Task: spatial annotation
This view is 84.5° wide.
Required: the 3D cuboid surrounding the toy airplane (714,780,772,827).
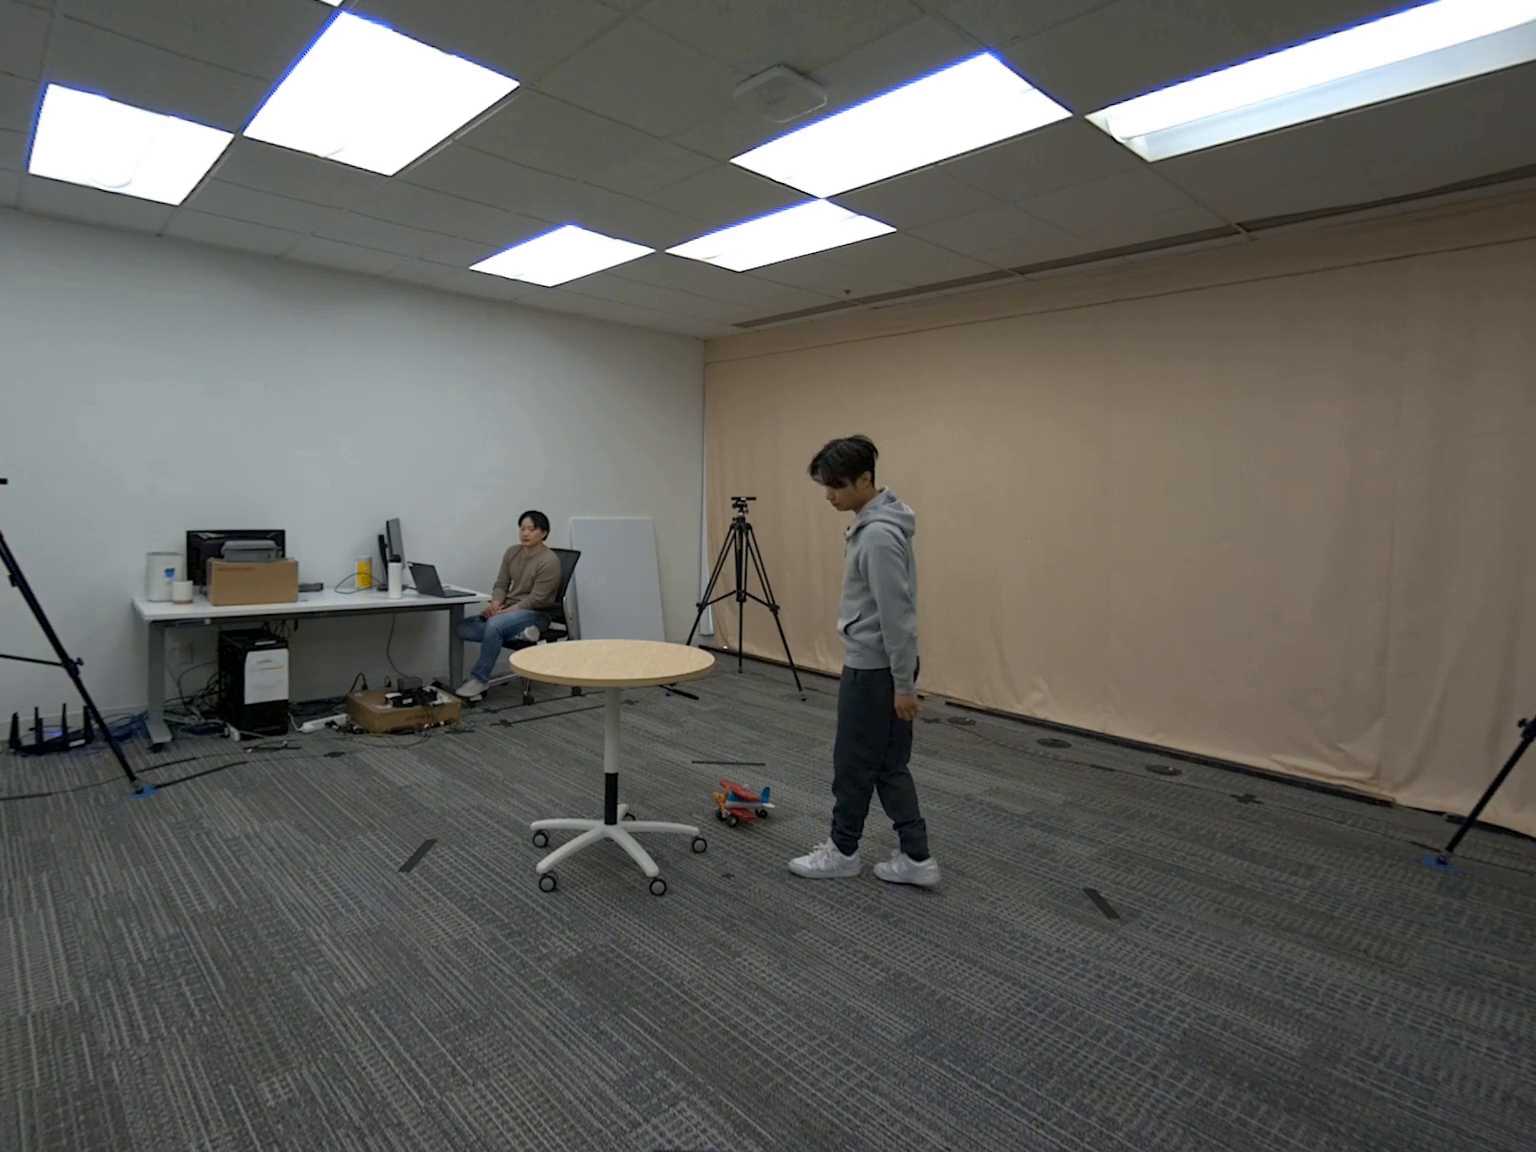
[{"bbox_3d":[-0.122,0.984,3.668,0.256,0.156,0.254,3,6,29],"label":"toy airplane"}]
